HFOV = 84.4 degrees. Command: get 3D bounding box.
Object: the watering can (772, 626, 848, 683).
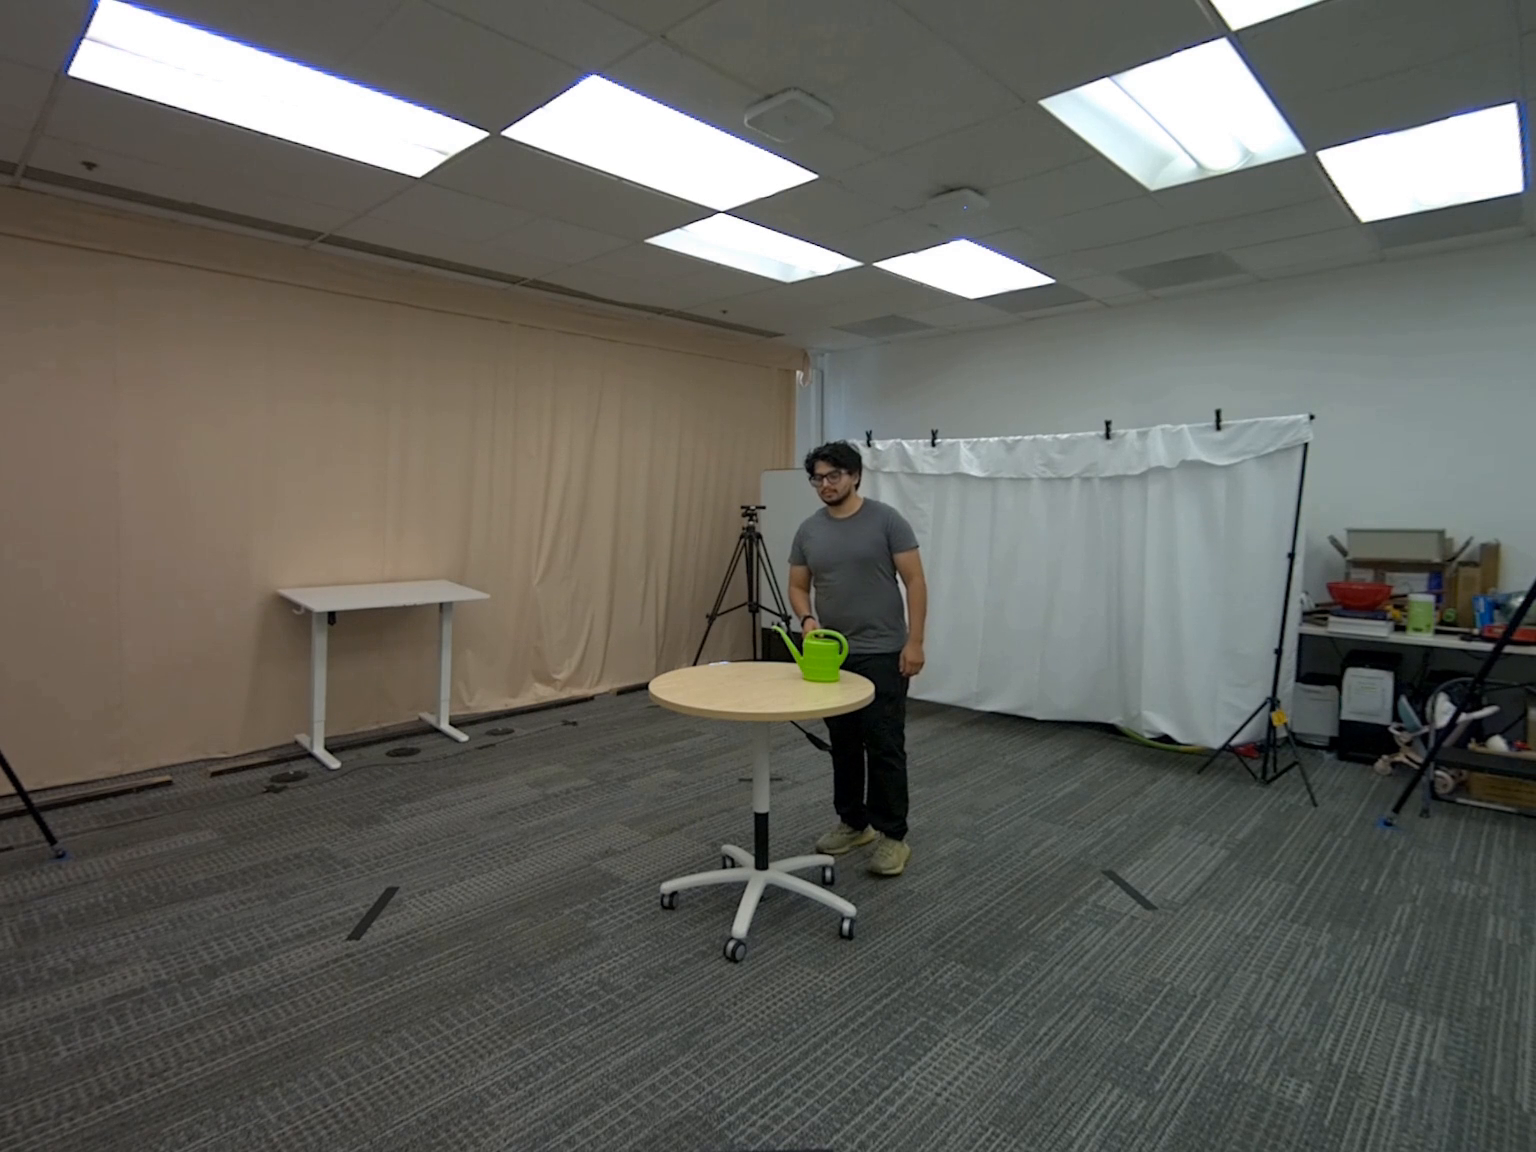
[{"bbox_3d":[0.156,0.272,2.965,0.287,0.176,0.095,6,6,35],"label":"watering can"}]
